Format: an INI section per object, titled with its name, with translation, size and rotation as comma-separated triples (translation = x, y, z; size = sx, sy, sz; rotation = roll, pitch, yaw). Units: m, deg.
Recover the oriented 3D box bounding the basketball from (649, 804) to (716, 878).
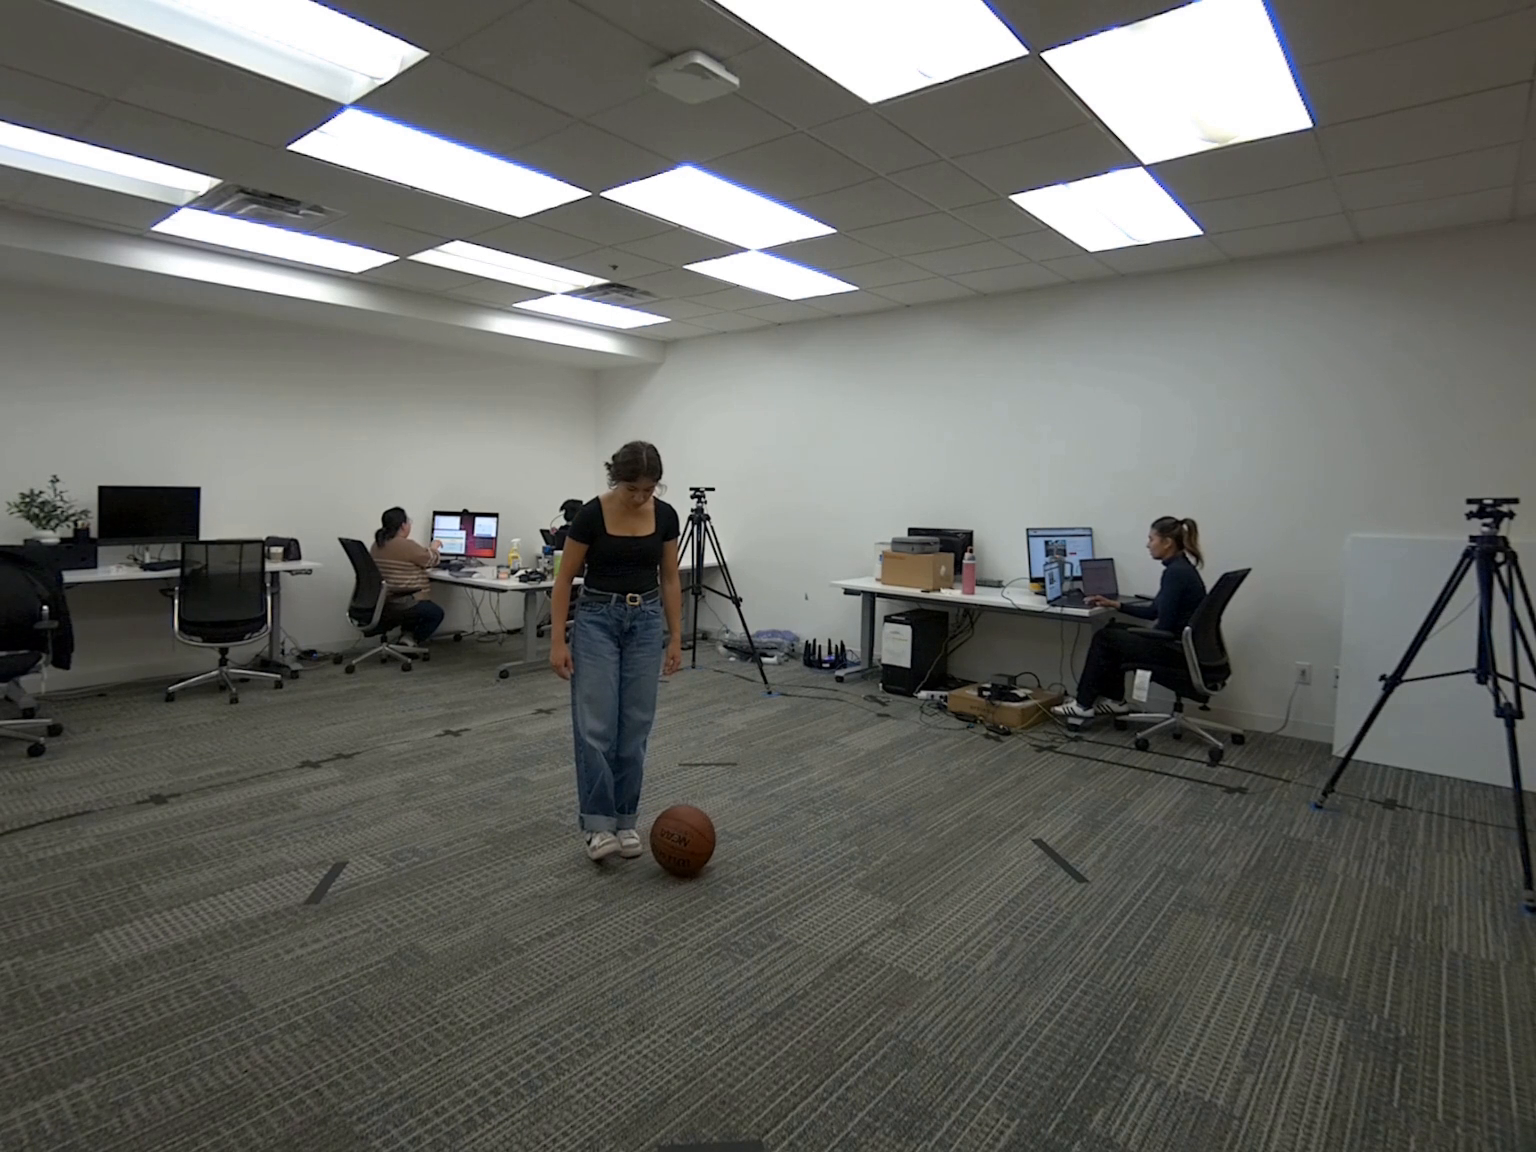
[basketball]
translation = -0.315, 0.945, 3.073
size = 0.235, 0.235, 0.237
rotation = 1, 4, -2
